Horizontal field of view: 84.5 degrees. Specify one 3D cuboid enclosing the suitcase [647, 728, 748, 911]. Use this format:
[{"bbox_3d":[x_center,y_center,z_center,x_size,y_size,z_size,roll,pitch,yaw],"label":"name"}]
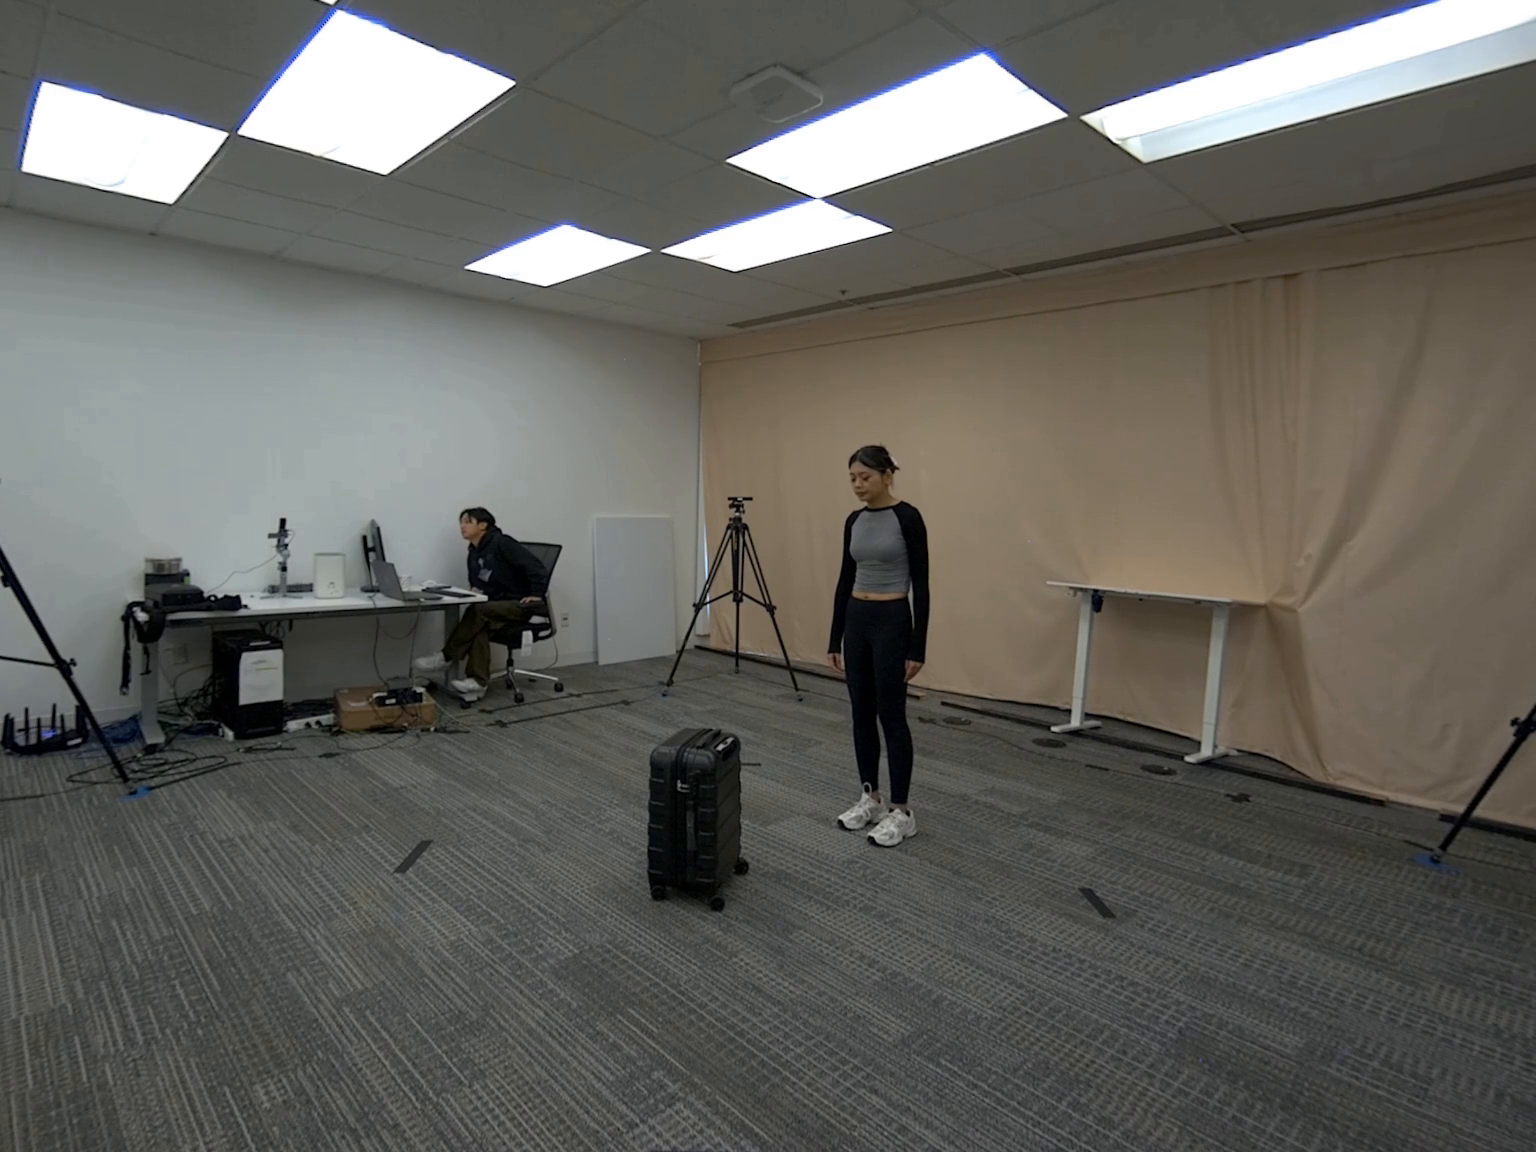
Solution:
[{"bbox_3d":[-0.262,0.839,3.006,0.252,0.548,0.371,0,4,18],"label":"suitcase"}]
